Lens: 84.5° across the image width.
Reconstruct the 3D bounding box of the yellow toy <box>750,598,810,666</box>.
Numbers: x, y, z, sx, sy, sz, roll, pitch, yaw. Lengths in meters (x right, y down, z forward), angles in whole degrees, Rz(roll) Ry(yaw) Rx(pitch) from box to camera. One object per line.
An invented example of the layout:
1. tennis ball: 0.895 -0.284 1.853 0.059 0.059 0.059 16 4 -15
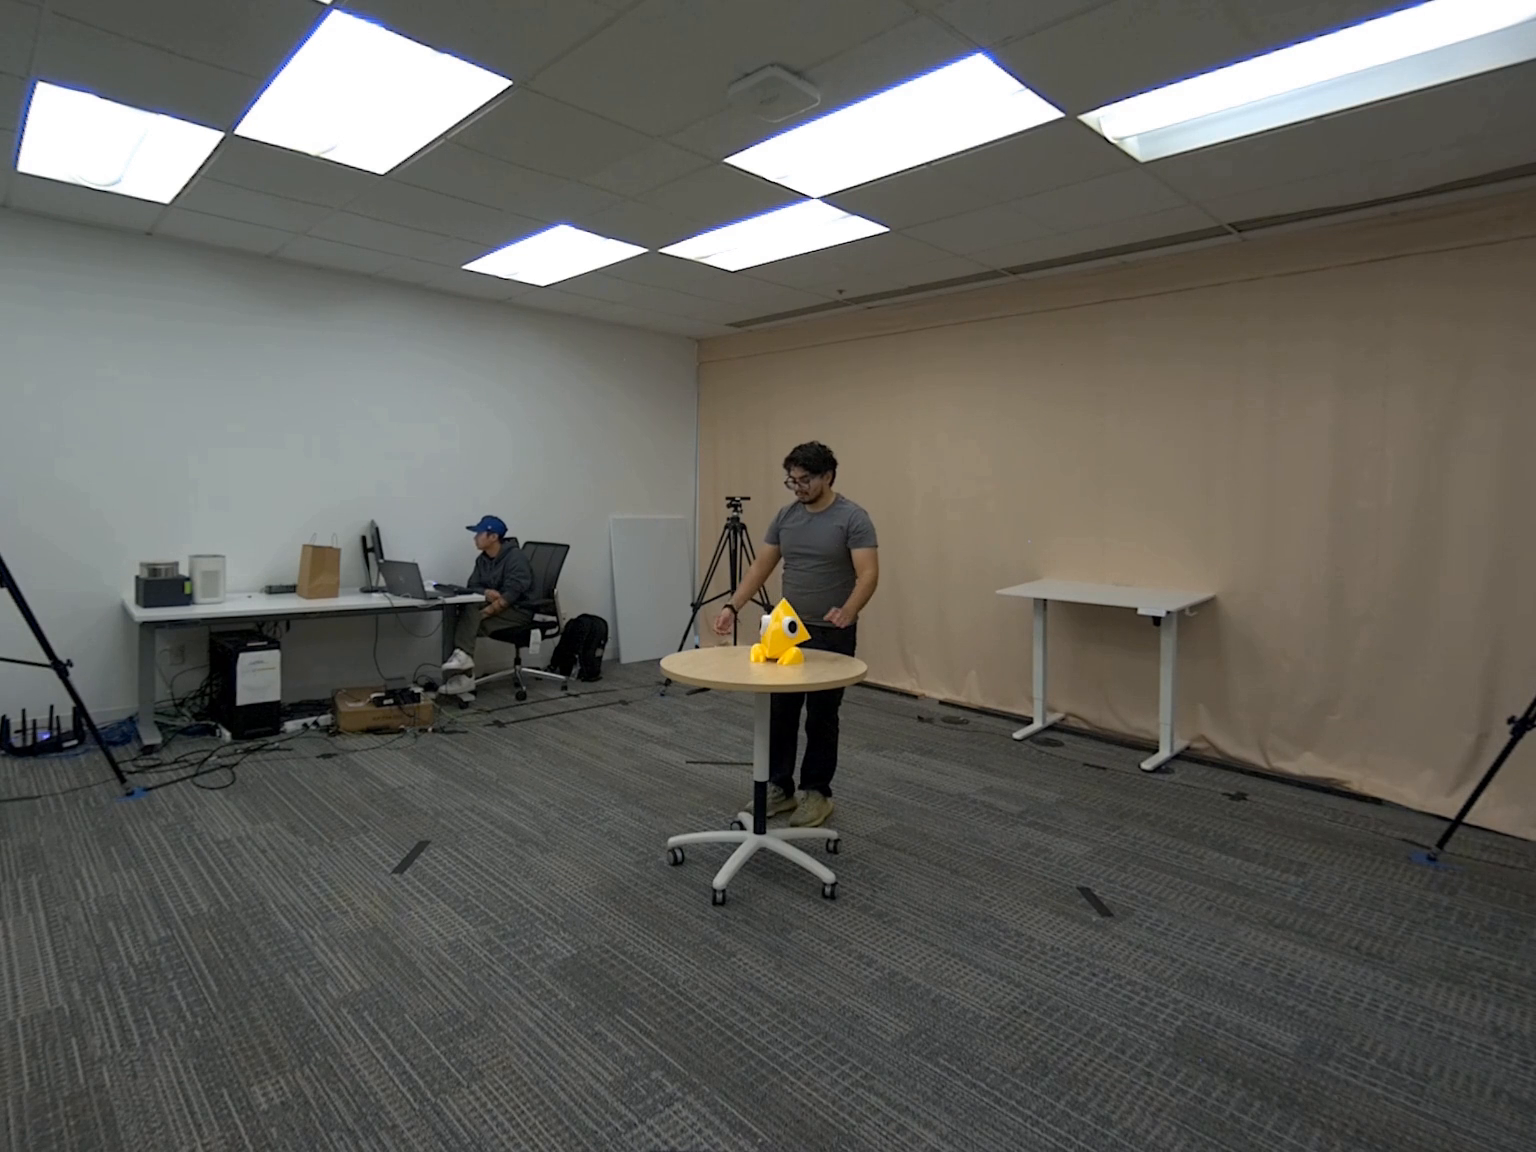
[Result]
1. yellow toy: 0.023 0.205 3.192 0.208 0.230 0.190 2 3 23
